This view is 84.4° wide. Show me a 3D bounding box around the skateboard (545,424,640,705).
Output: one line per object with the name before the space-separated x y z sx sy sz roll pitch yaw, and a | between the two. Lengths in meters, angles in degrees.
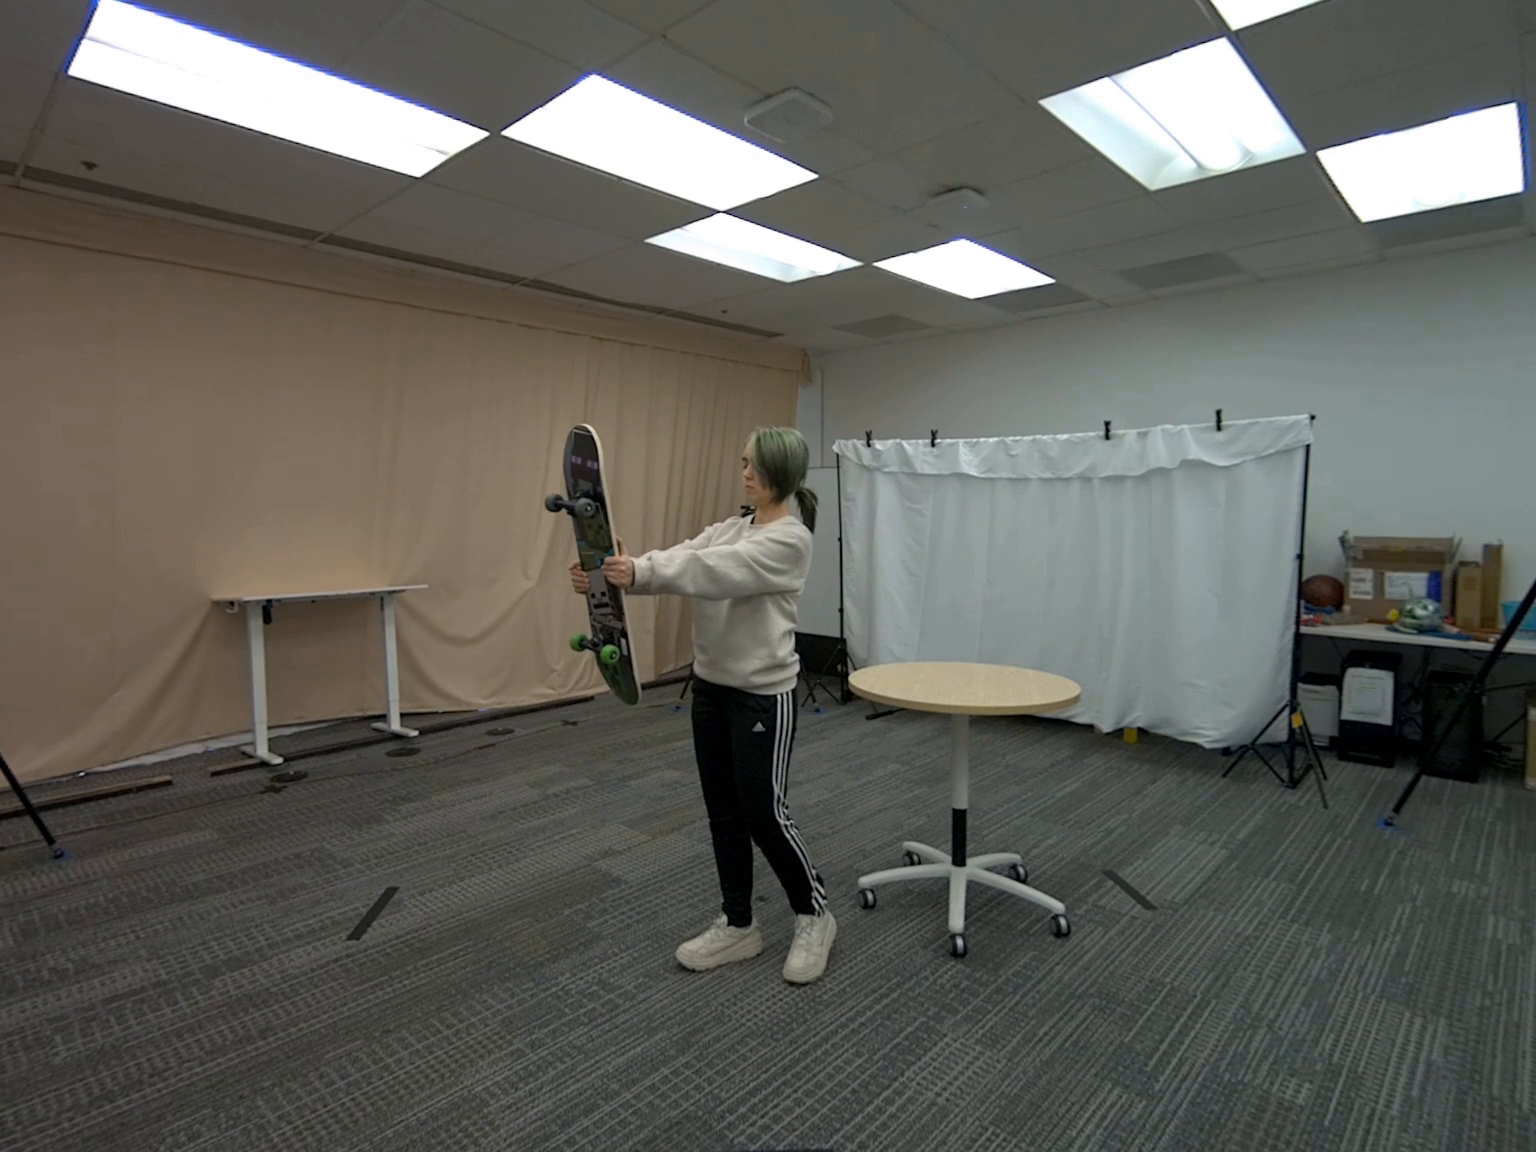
skateboard | -0.468 -0.001 2.238 0.108 0.777 0.200 -18 19 -39
